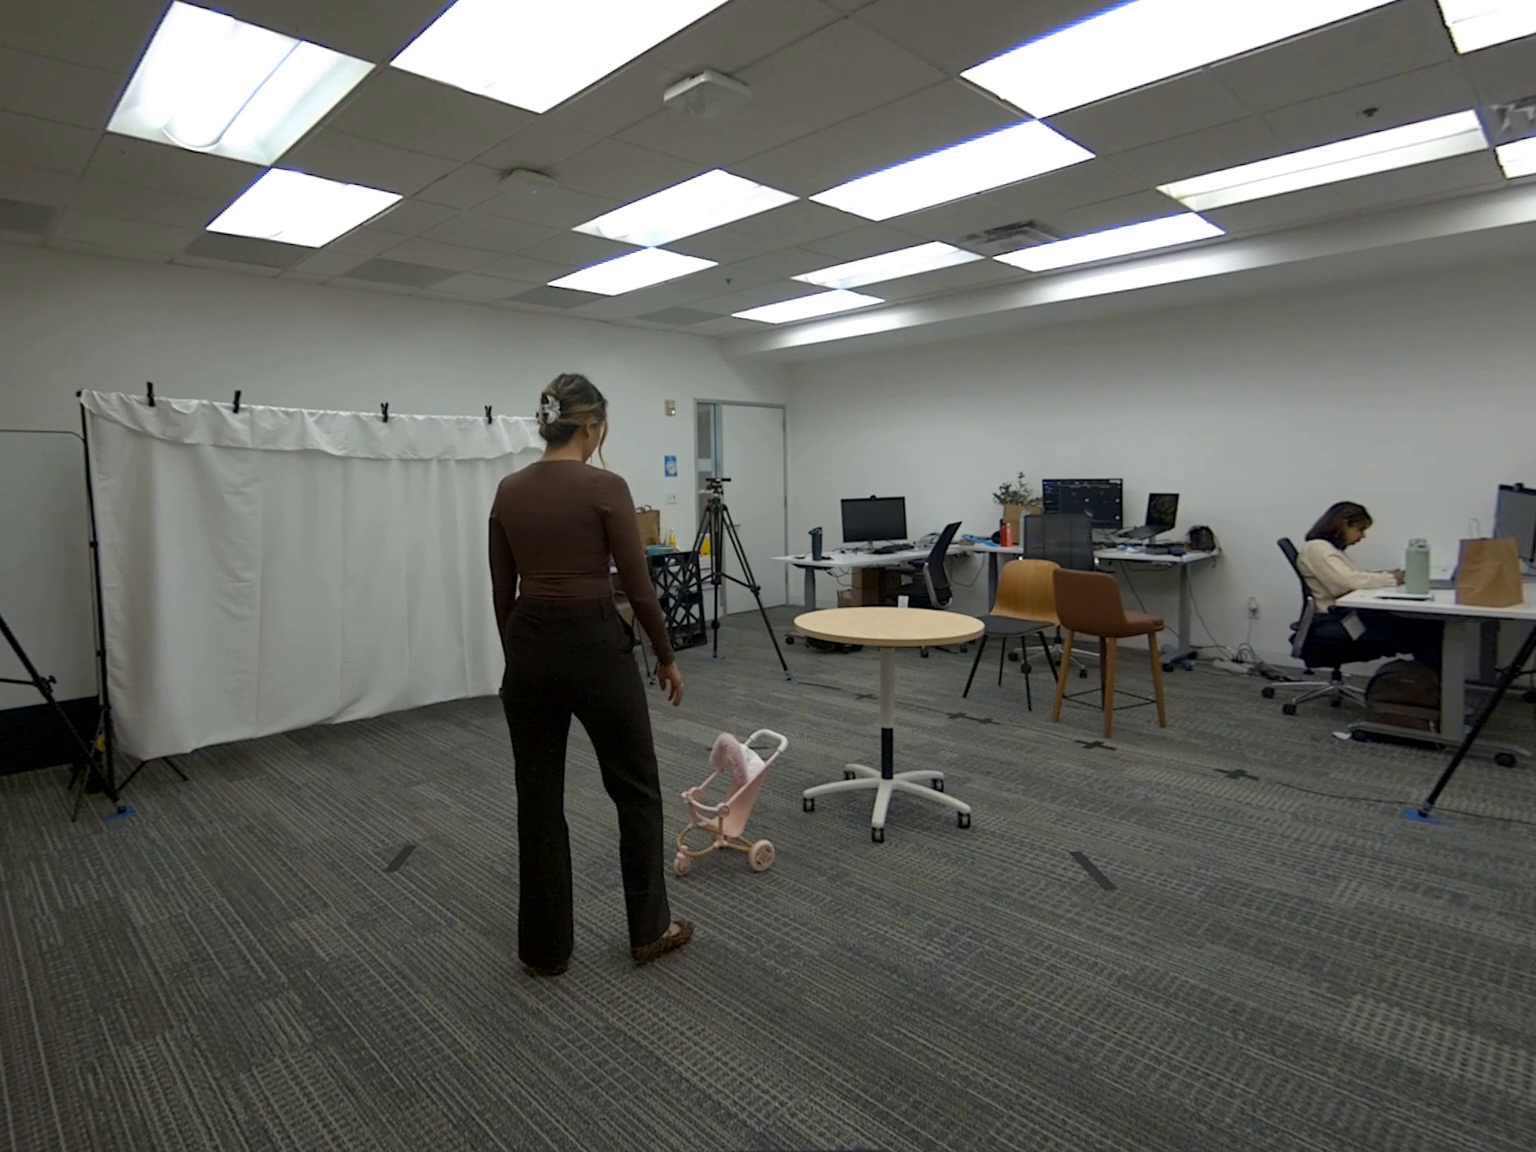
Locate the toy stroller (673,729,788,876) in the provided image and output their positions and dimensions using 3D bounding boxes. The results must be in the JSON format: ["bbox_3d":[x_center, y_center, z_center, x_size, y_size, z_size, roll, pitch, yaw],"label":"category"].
[{"bbox_3d":[-0.150,0.817,3.102,0.331,0.536,0.289,14,-3,-29],"label":"toy stroller"}]
